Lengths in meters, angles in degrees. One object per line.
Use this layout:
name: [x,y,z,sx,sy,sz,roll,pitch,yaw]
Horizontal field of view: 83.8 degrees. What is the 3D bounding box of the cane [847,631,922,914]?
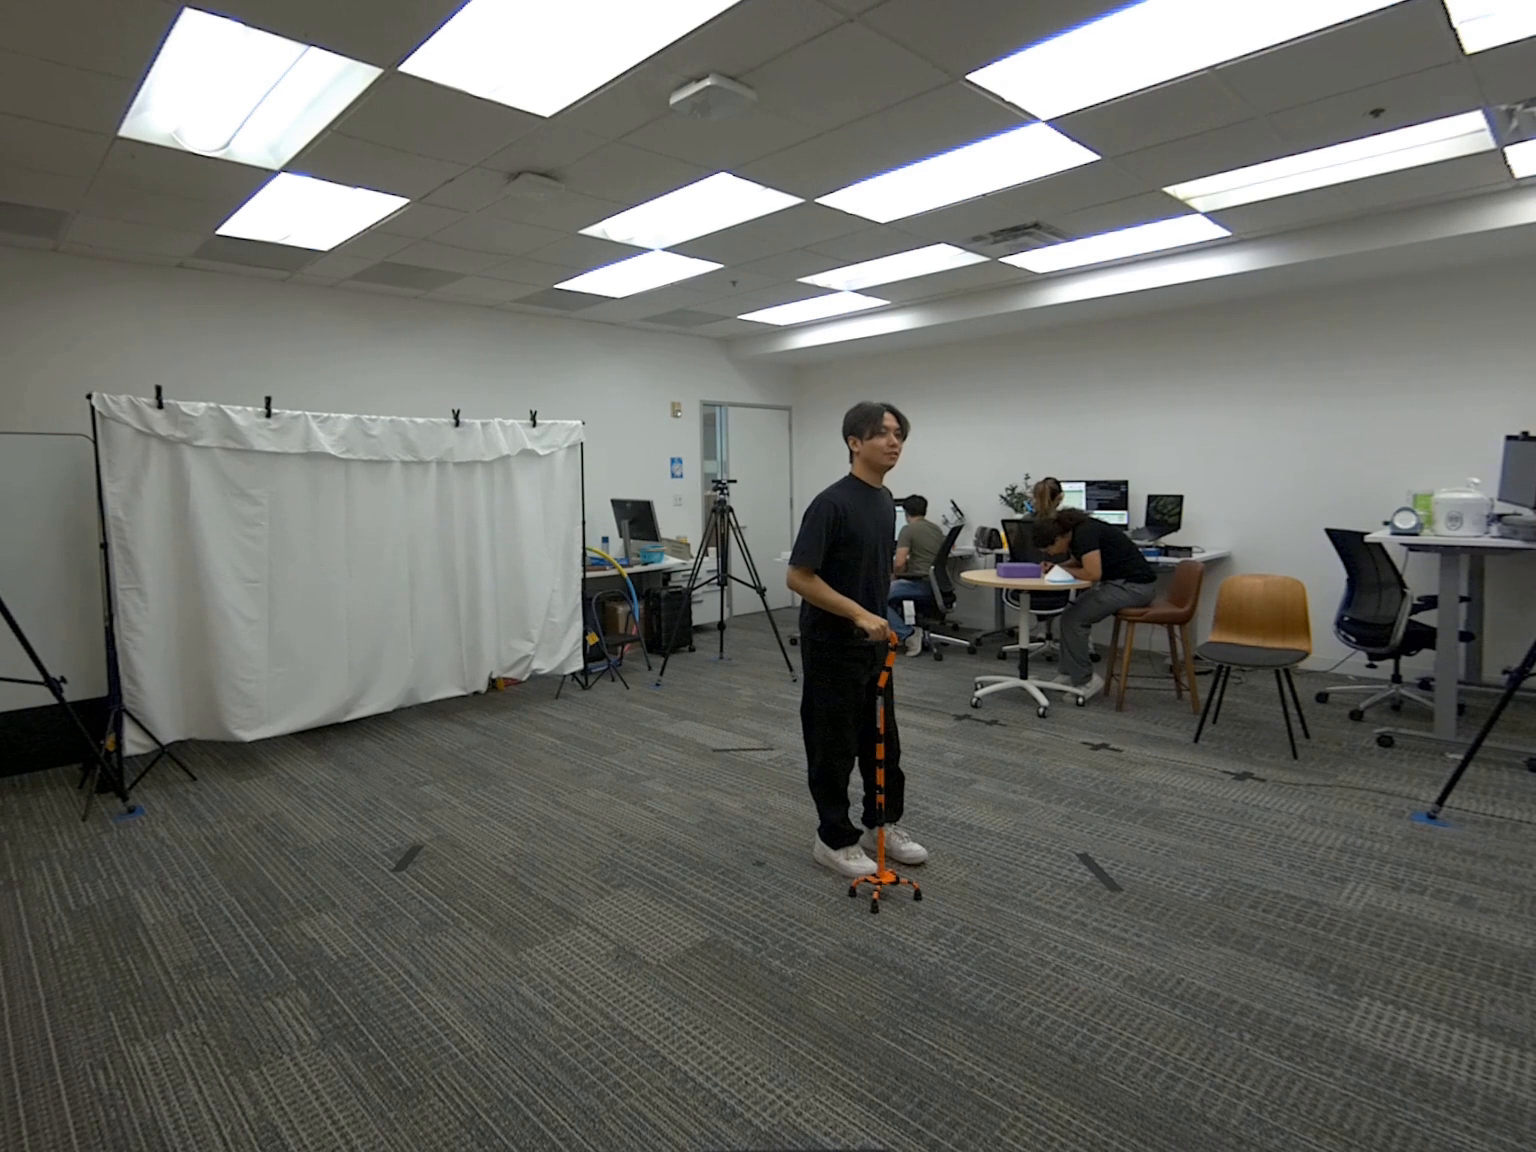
cane: [0.386,0.624,2.807,0.202,0.905,0.155,-3,4,-28]
